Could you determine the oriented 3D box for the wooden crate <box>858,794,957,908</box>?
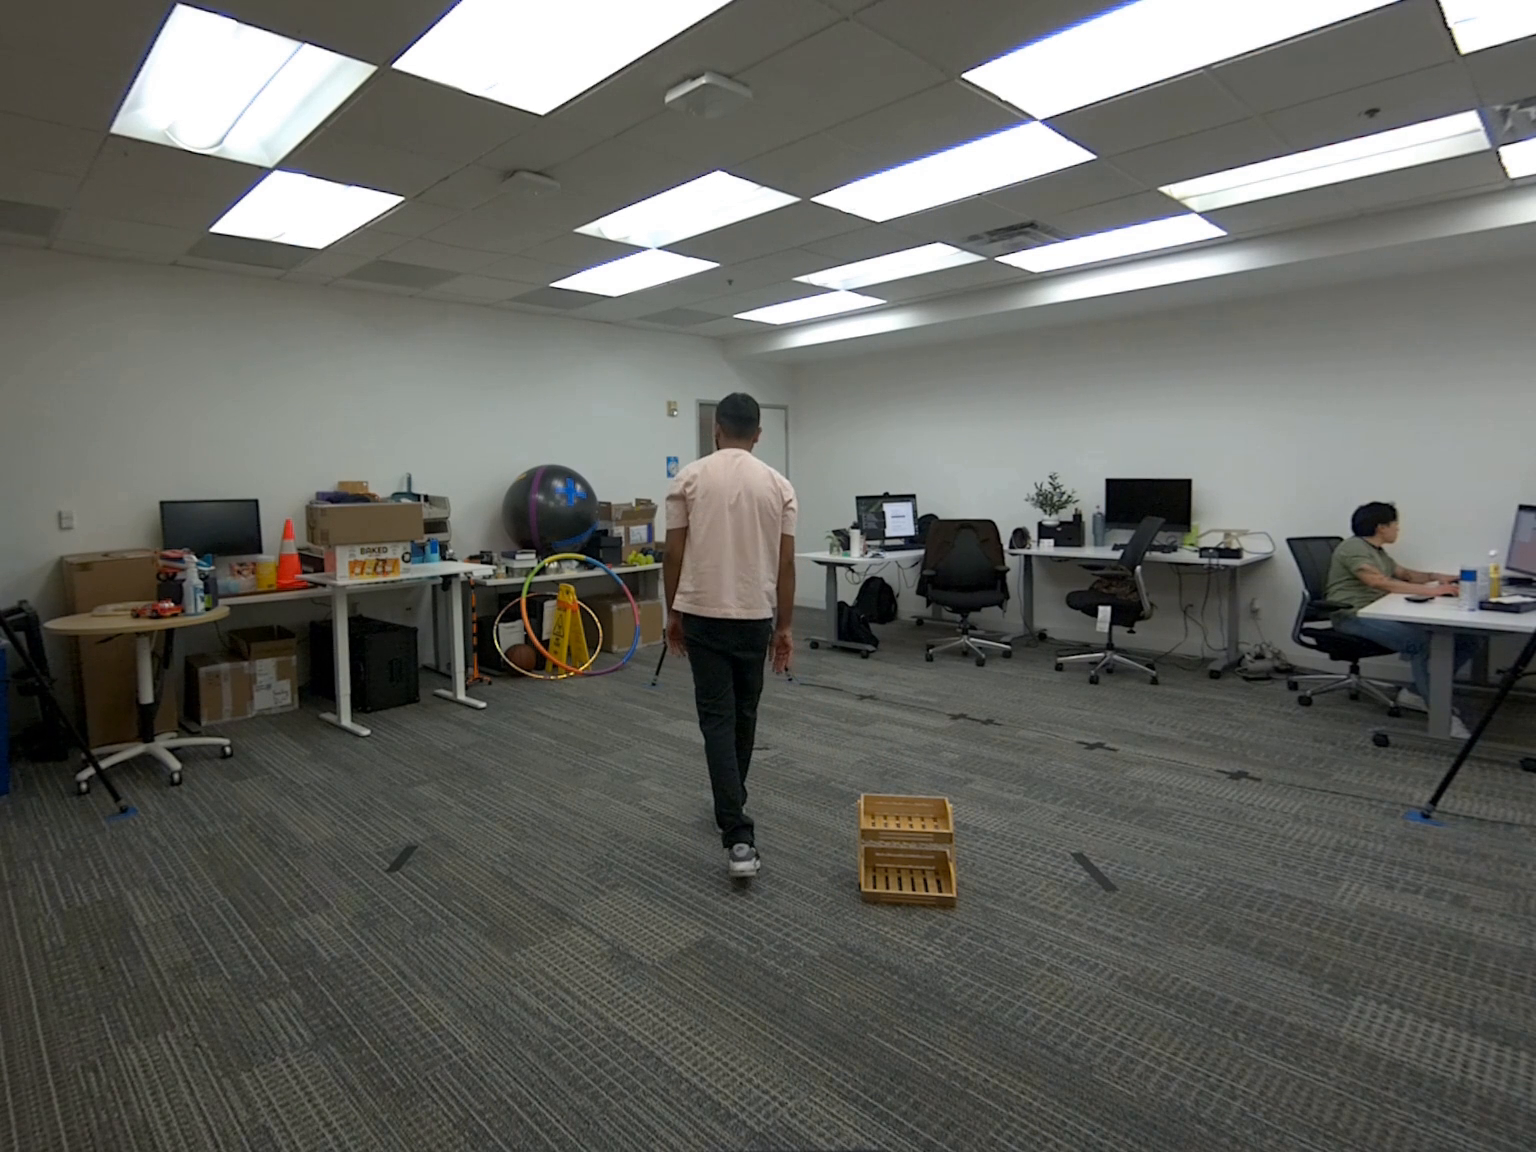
[{"bbox_3d":[0.471,0.924,2.901,0.327,0.272,0.301,0,5,7],"label":"wooden crate"}]
